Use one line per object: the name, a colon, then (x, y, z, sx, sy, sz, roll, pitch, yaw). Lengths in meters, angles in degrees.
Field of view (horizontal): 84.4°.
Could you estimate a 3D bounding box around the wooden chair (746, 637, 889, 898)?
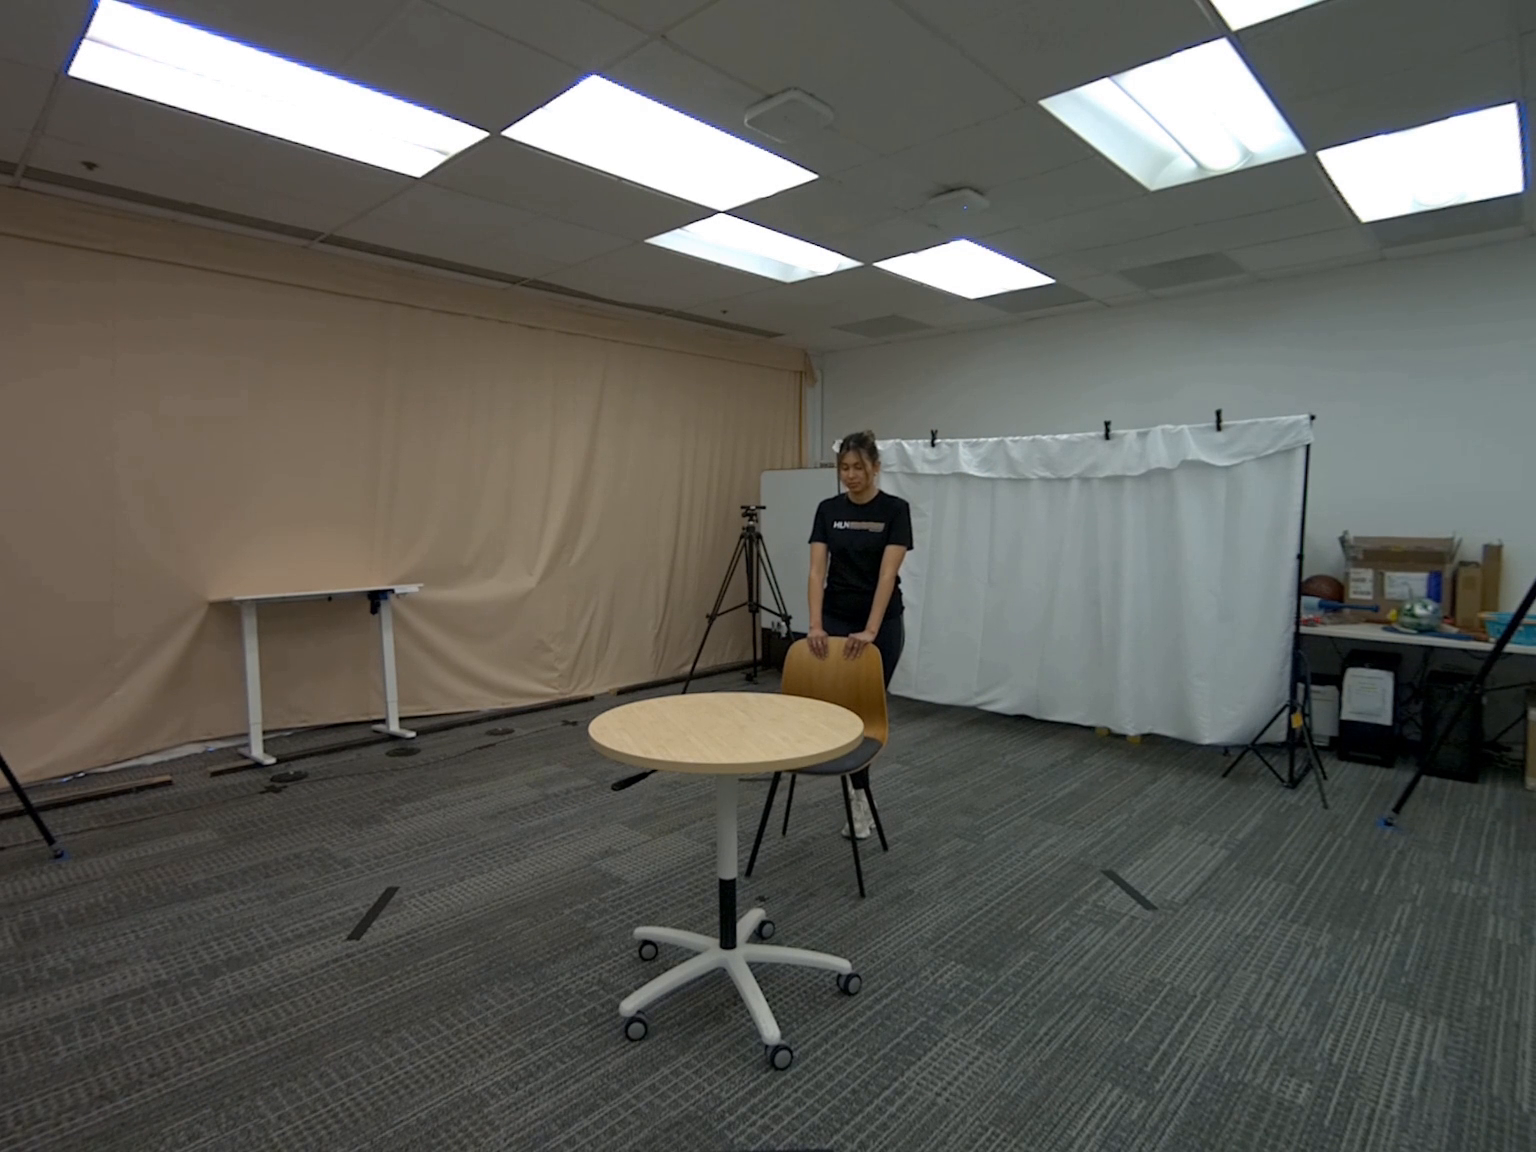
wooden chair: (0.204, 0.695, 3.239, 0.489, 0.877, 0.511, 2, 0, 21)
